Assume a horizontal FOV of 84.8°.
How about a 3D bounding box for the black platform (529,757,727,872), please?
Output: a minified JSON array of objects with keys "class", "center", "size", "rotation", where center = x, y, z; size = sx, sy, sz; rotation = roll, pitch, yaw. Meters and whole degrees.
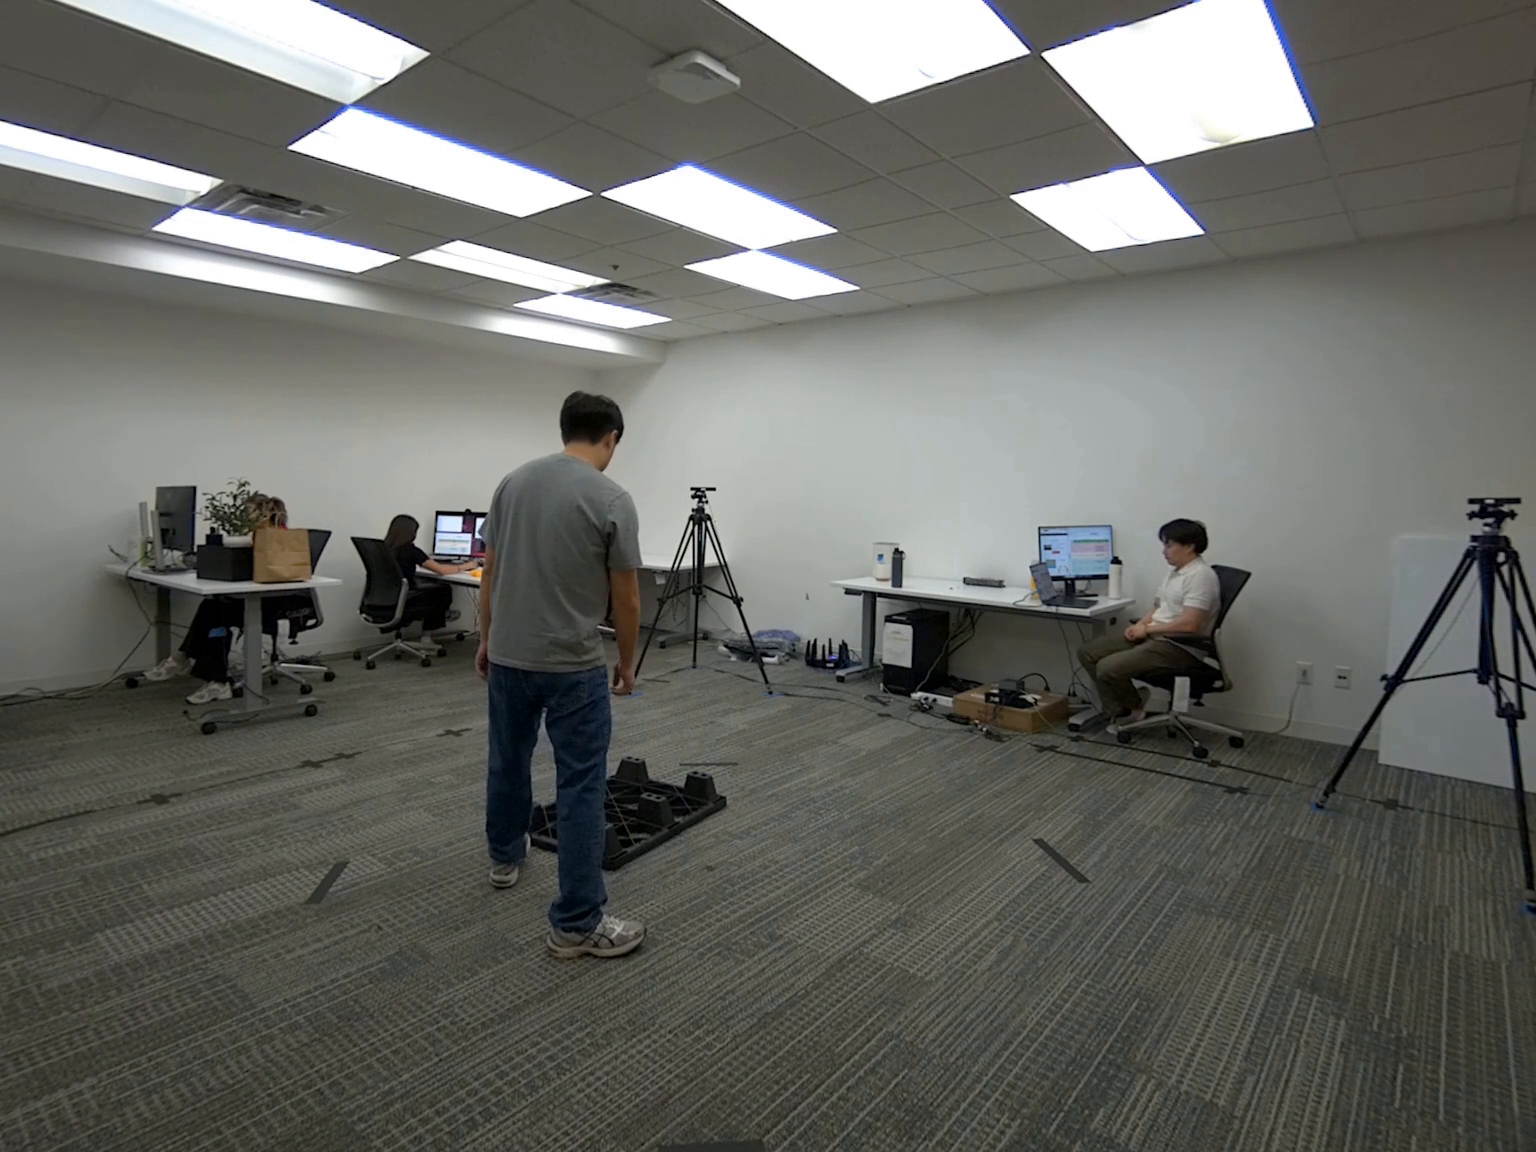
[{"class":"black platform","center":[-0.637,0.949,3.557],"size":[0.623,0.143,0.785],"rotation":[4,6,30]}]
